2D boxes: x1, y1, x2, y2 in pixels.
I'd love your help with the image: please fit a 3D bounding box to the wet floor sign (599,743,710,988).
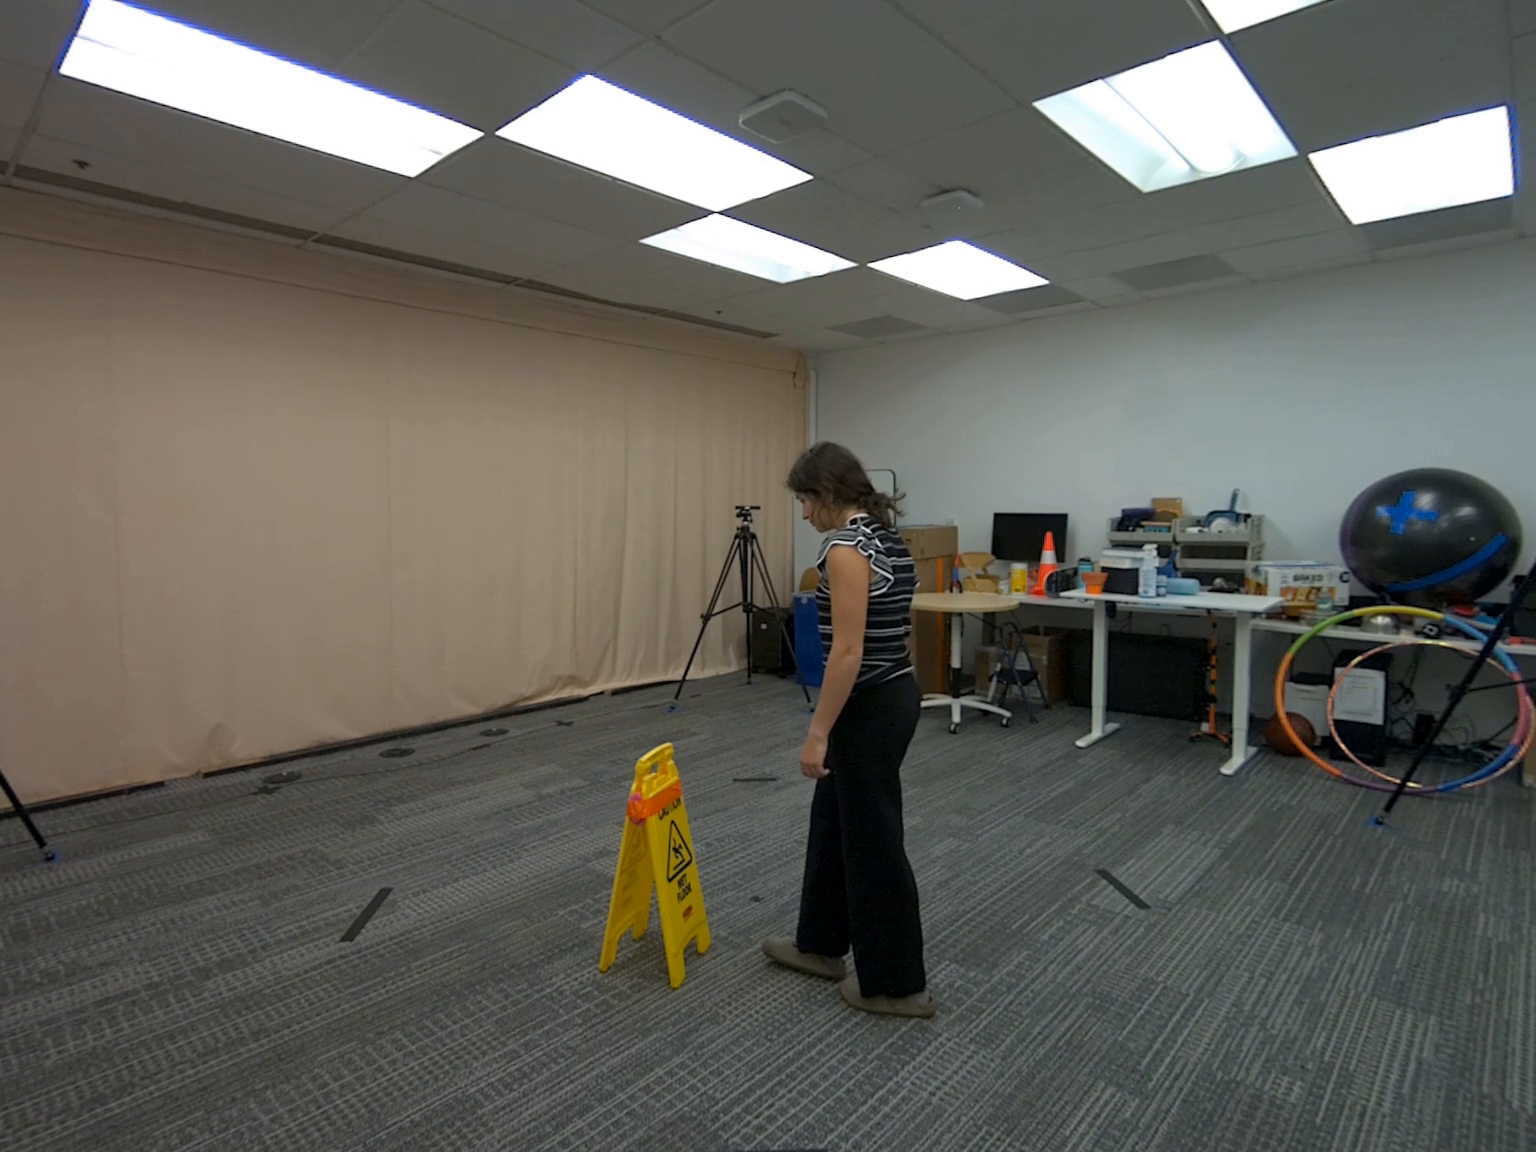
[{"bbox_3d":[-0.346,0.857,2.580,0.296,0.645,0.276,0,2,21],"label":"wet floor sign"}]
